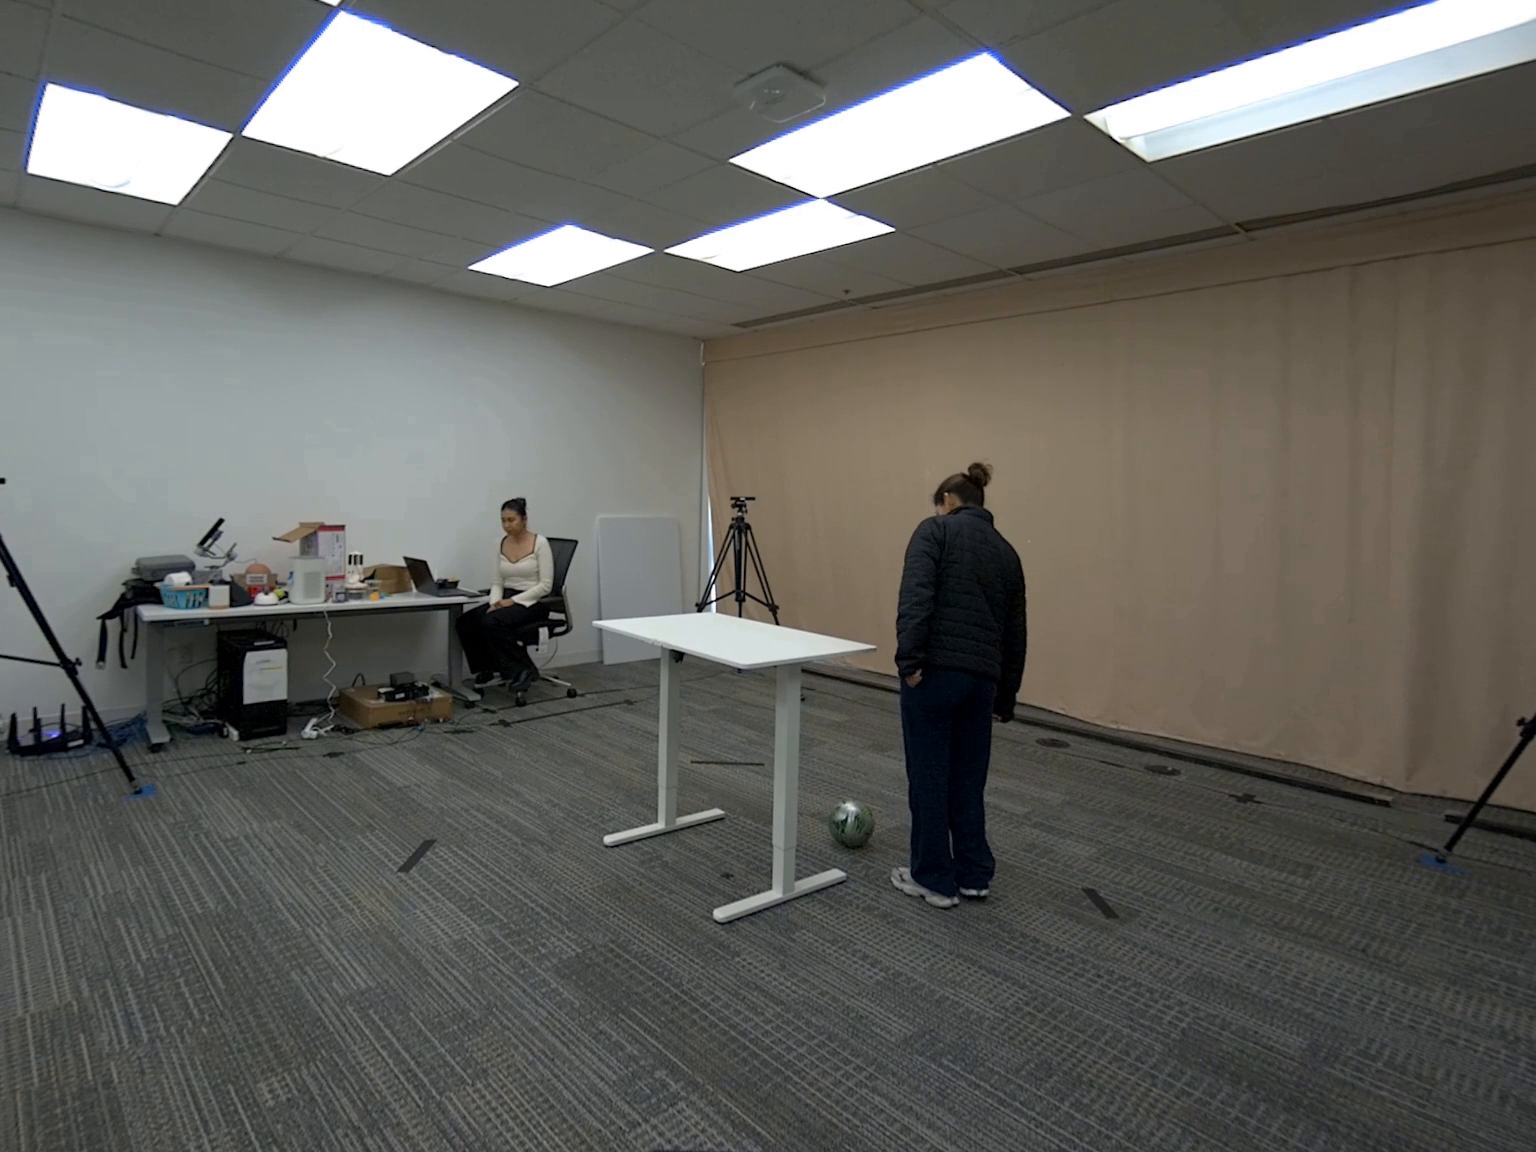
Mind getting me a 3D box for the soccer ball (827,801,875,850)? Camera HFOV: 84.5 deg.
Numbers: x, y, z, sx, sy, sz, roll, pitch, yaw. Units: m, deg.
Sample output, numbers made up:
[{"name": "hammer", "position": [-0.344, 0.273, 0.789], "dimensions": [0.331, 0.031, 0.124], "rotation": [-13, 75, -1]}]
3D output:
[{"name": "soccer ball", "position": [0.328, 0.998, 3.407], "dimensions": [0.187, 0.187, 0.188], "rotation": [1, 4, -1]}]
